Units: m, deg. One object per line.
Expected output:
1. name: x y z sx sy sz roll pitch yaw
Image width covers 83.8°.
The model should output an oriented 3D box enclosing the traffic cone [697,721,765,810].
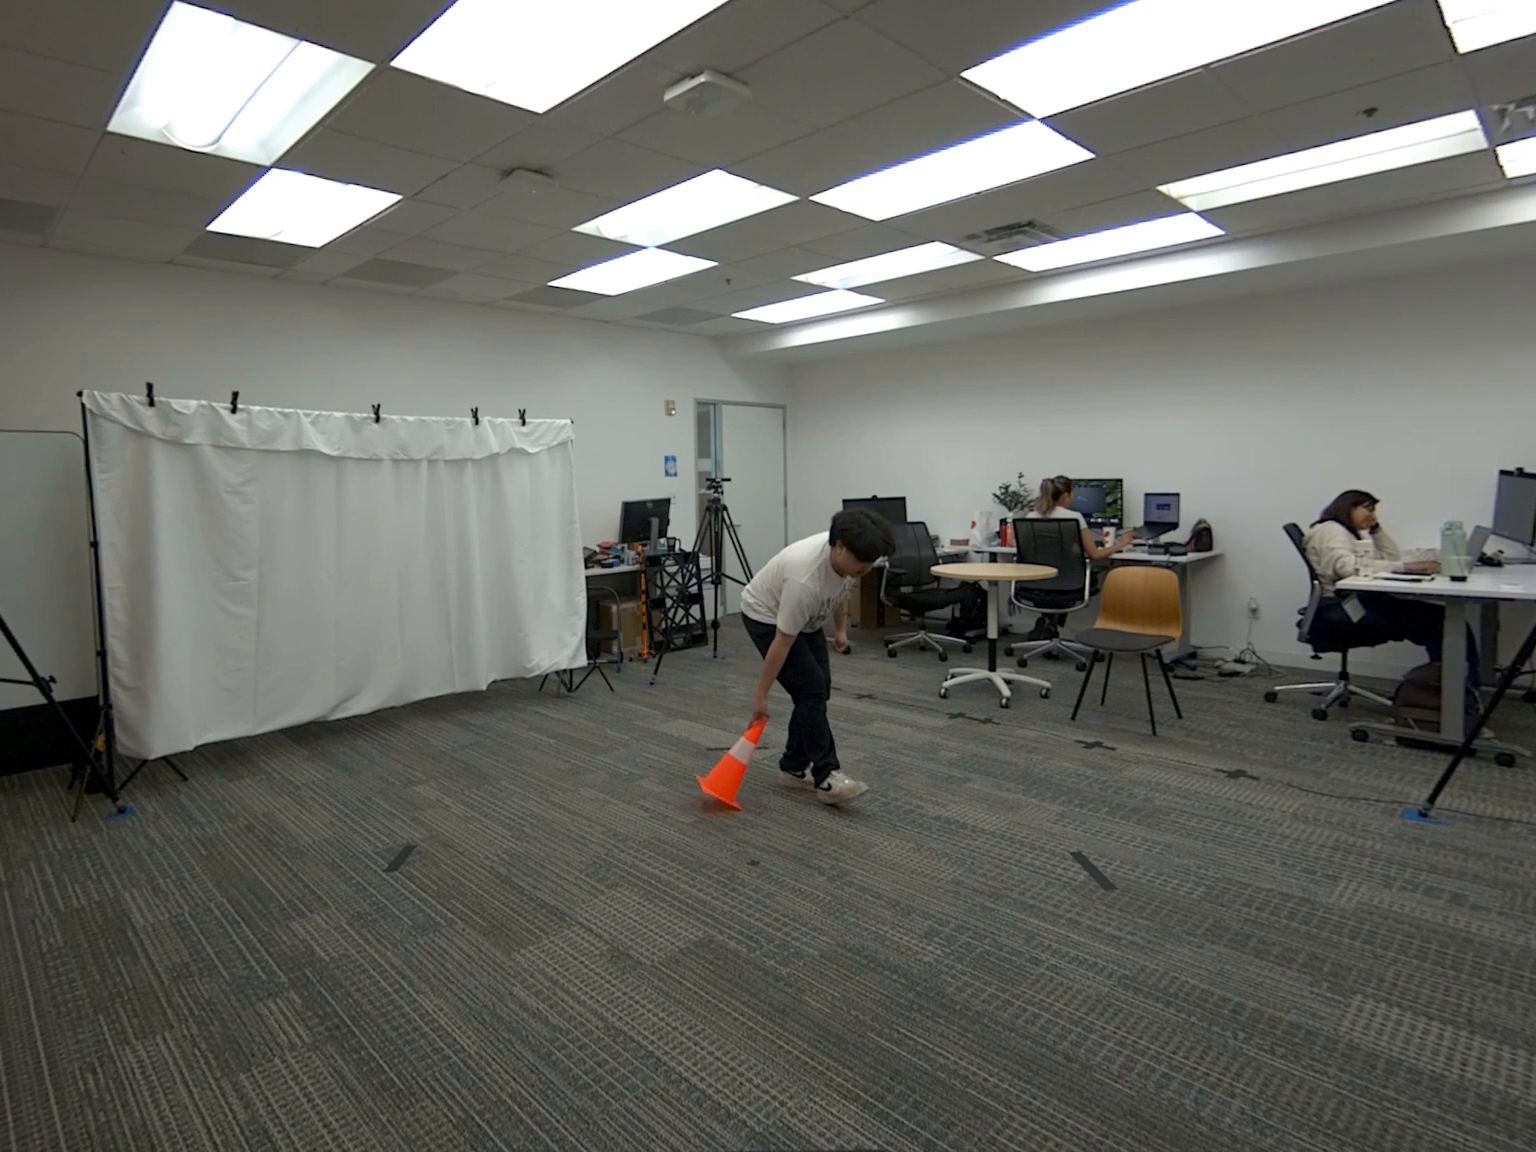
1. traffic cone: -0.113 0.771 3.676 0.198 0.384 0.210 33 -2 -21
